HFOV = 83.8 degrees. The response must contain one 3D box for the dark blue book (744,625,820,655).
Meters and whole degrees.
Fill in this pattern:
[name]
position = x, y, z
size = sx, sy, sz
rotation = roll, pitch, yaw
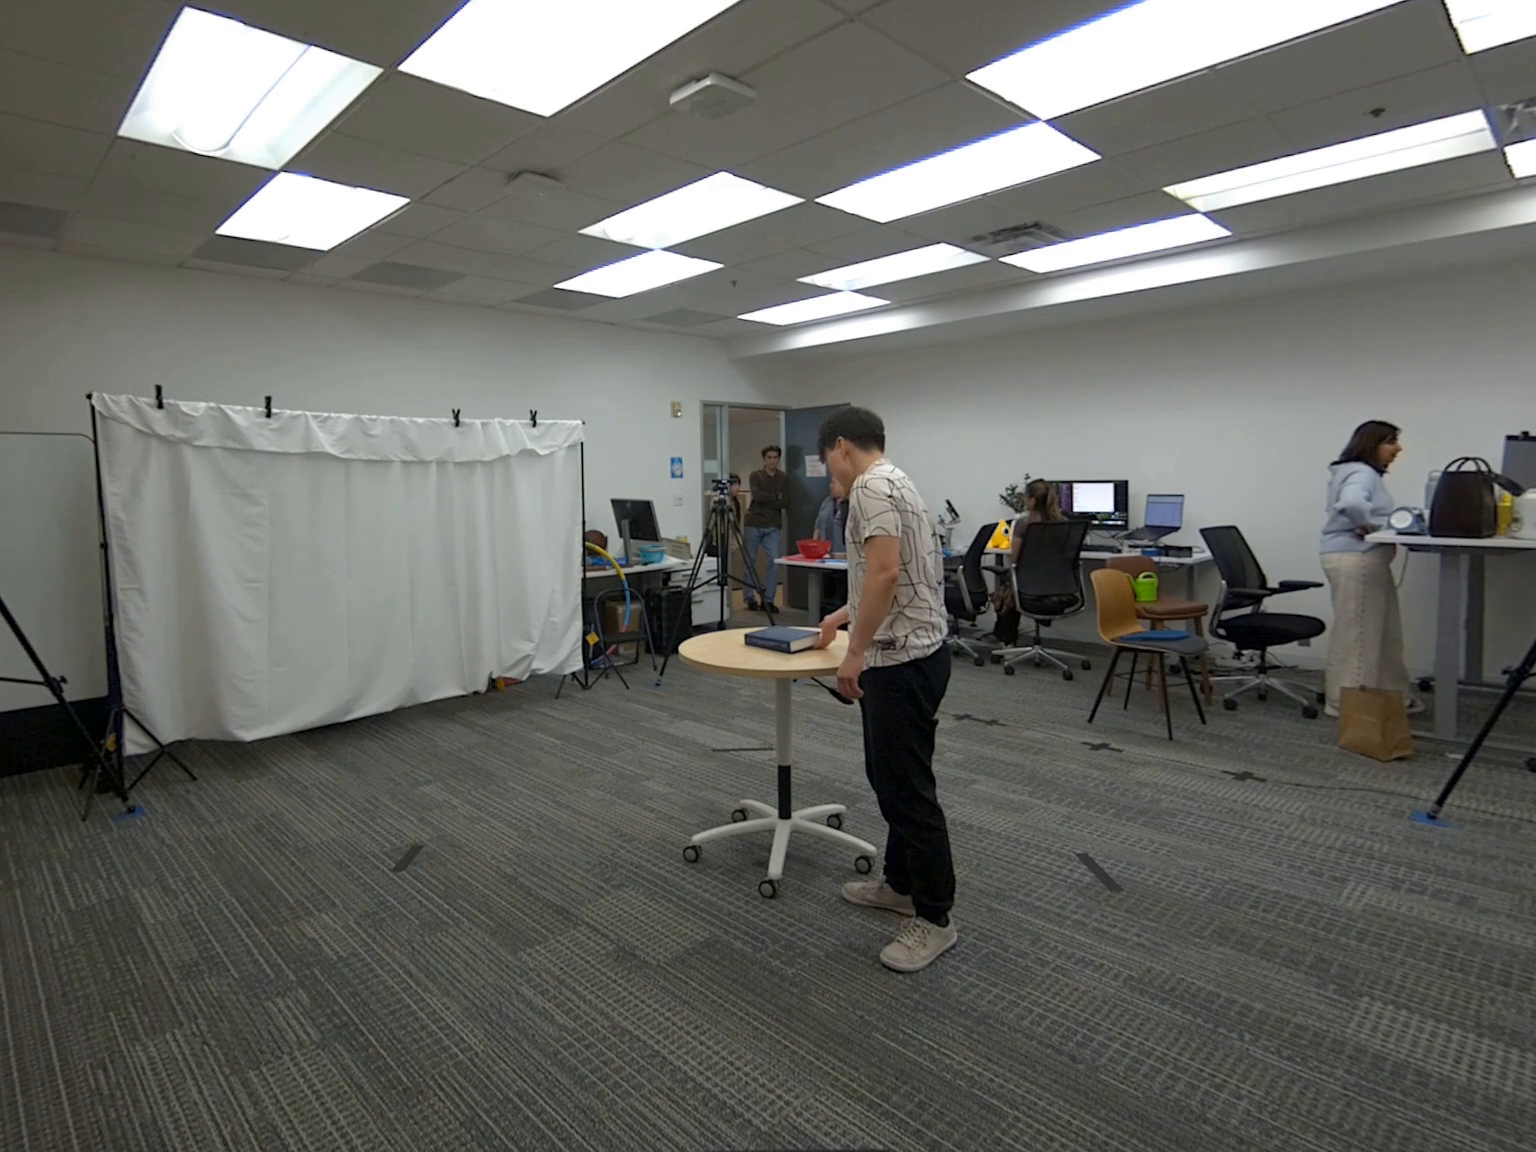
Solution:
[dark blue book]
position = 0.045, 0.237, 3.126
size = 0.159, 0.045, 0.252
rotation = -10, 9, -38
